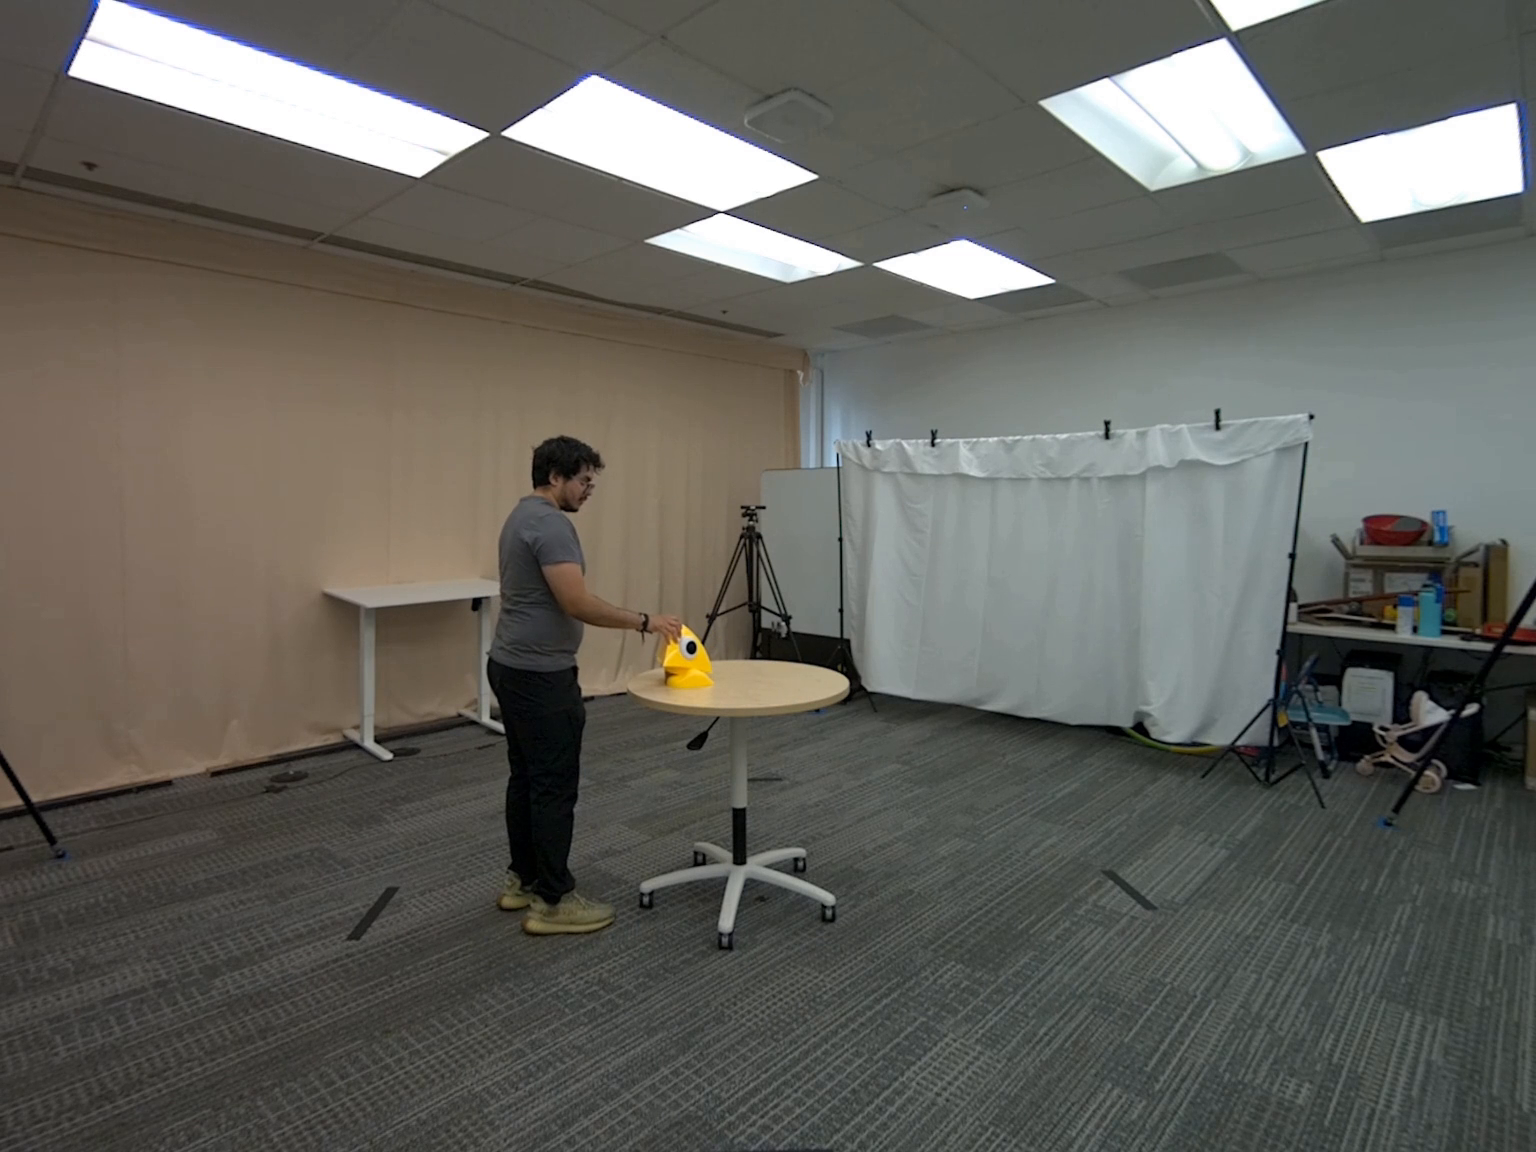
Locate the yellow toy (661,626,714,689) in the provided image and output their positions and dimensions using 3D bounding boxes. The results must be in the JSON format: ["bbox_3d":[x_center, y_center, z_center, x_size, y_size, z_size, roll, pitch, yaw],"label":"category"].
[{"bbox_3d":[-0.283,0.256,2.914,0.190,0.230,0.208,-2,3,-13],"label":"yellow toy"}]
